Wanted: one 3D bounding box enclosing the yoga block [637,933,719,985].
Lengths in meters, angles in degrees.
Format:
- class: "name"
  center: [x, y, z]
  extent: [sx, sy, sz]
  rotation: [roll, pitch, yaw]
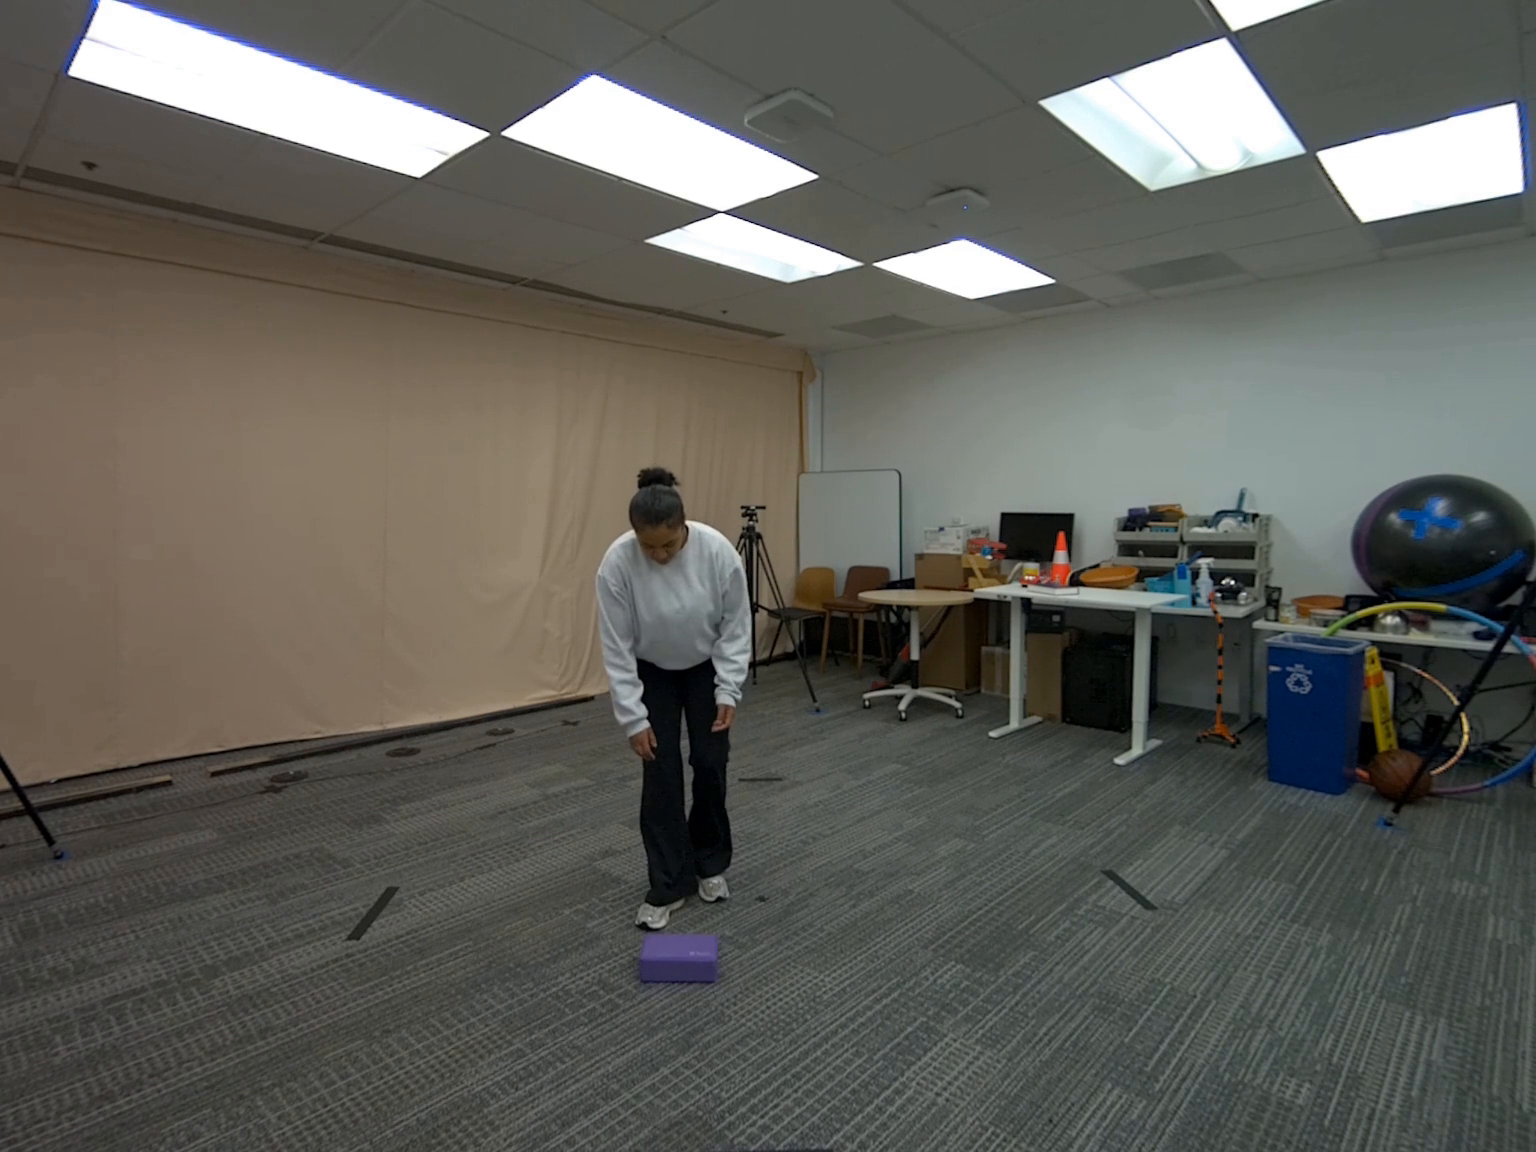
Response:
- class: "yoga block"
  center: [-0.264, 1.138, 2.529]
  extent: [0.230, 0.076, 0.149]
  rotation: [0, 4, 1]
